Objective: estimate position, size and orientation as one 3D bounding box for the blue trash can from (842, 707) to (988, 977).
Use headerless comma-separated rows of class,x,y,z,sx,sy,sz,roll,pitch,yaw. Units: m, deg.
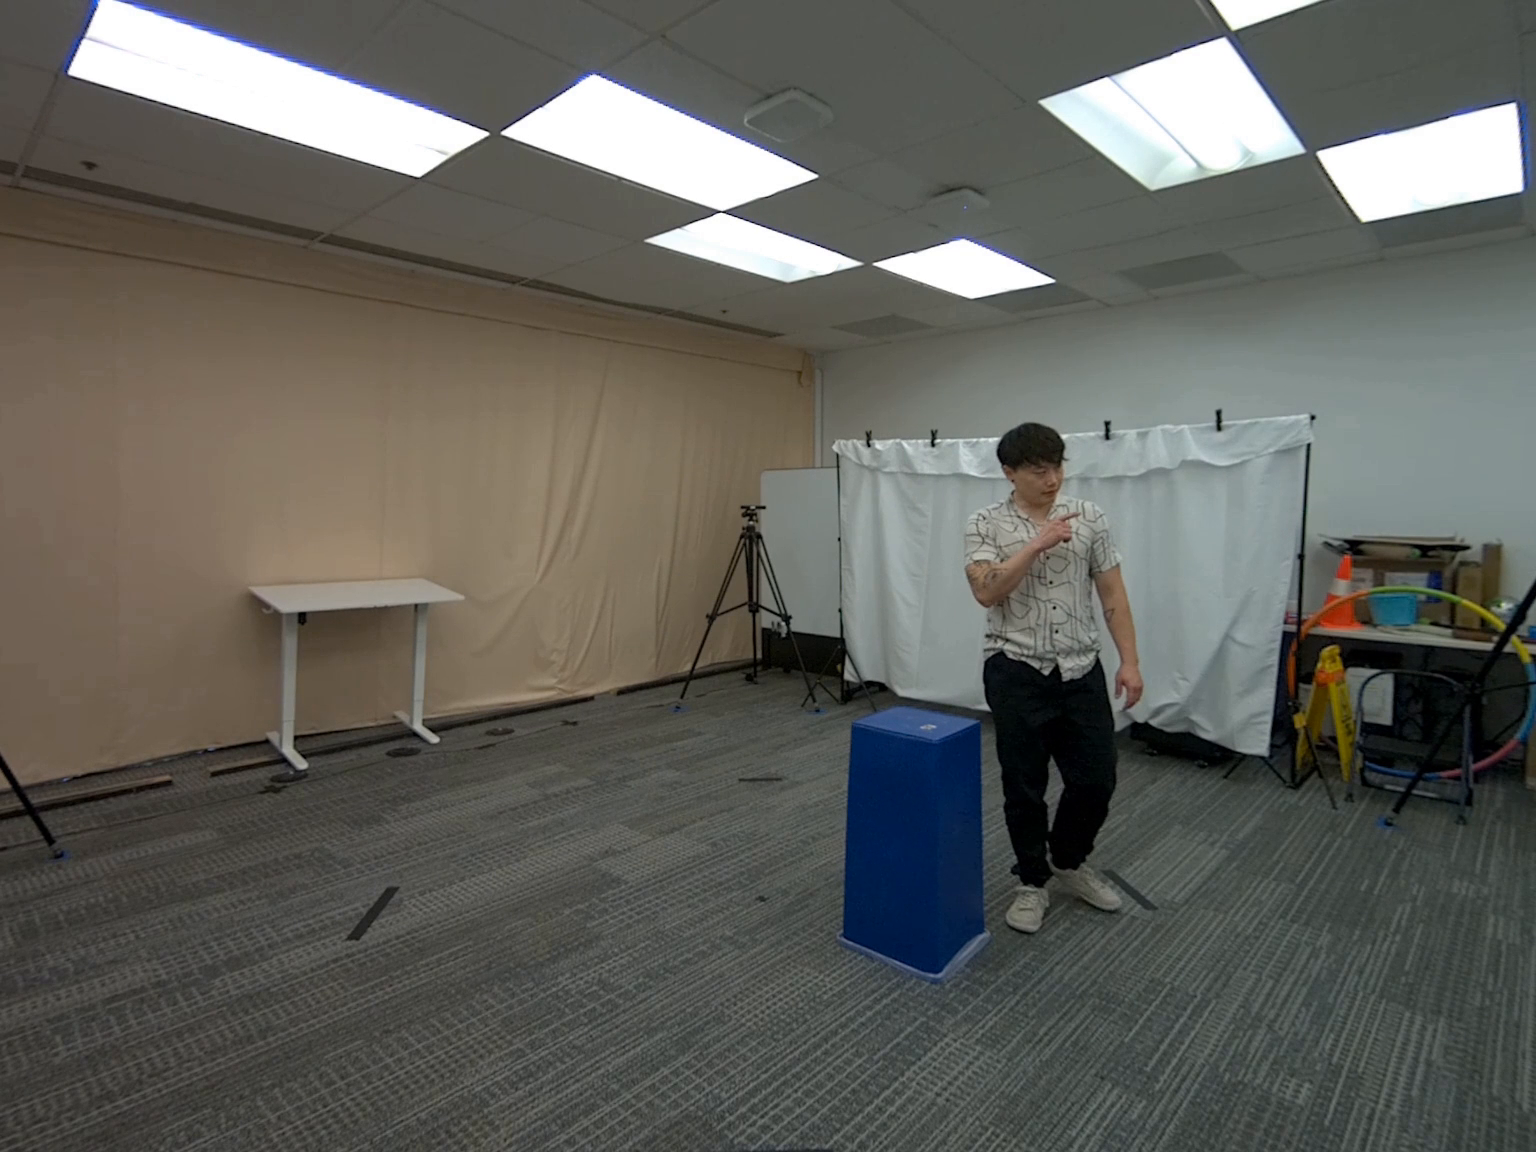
blue trash can,0.473,0.815,2.667,0.386,0.711,0.367,3,6,40
